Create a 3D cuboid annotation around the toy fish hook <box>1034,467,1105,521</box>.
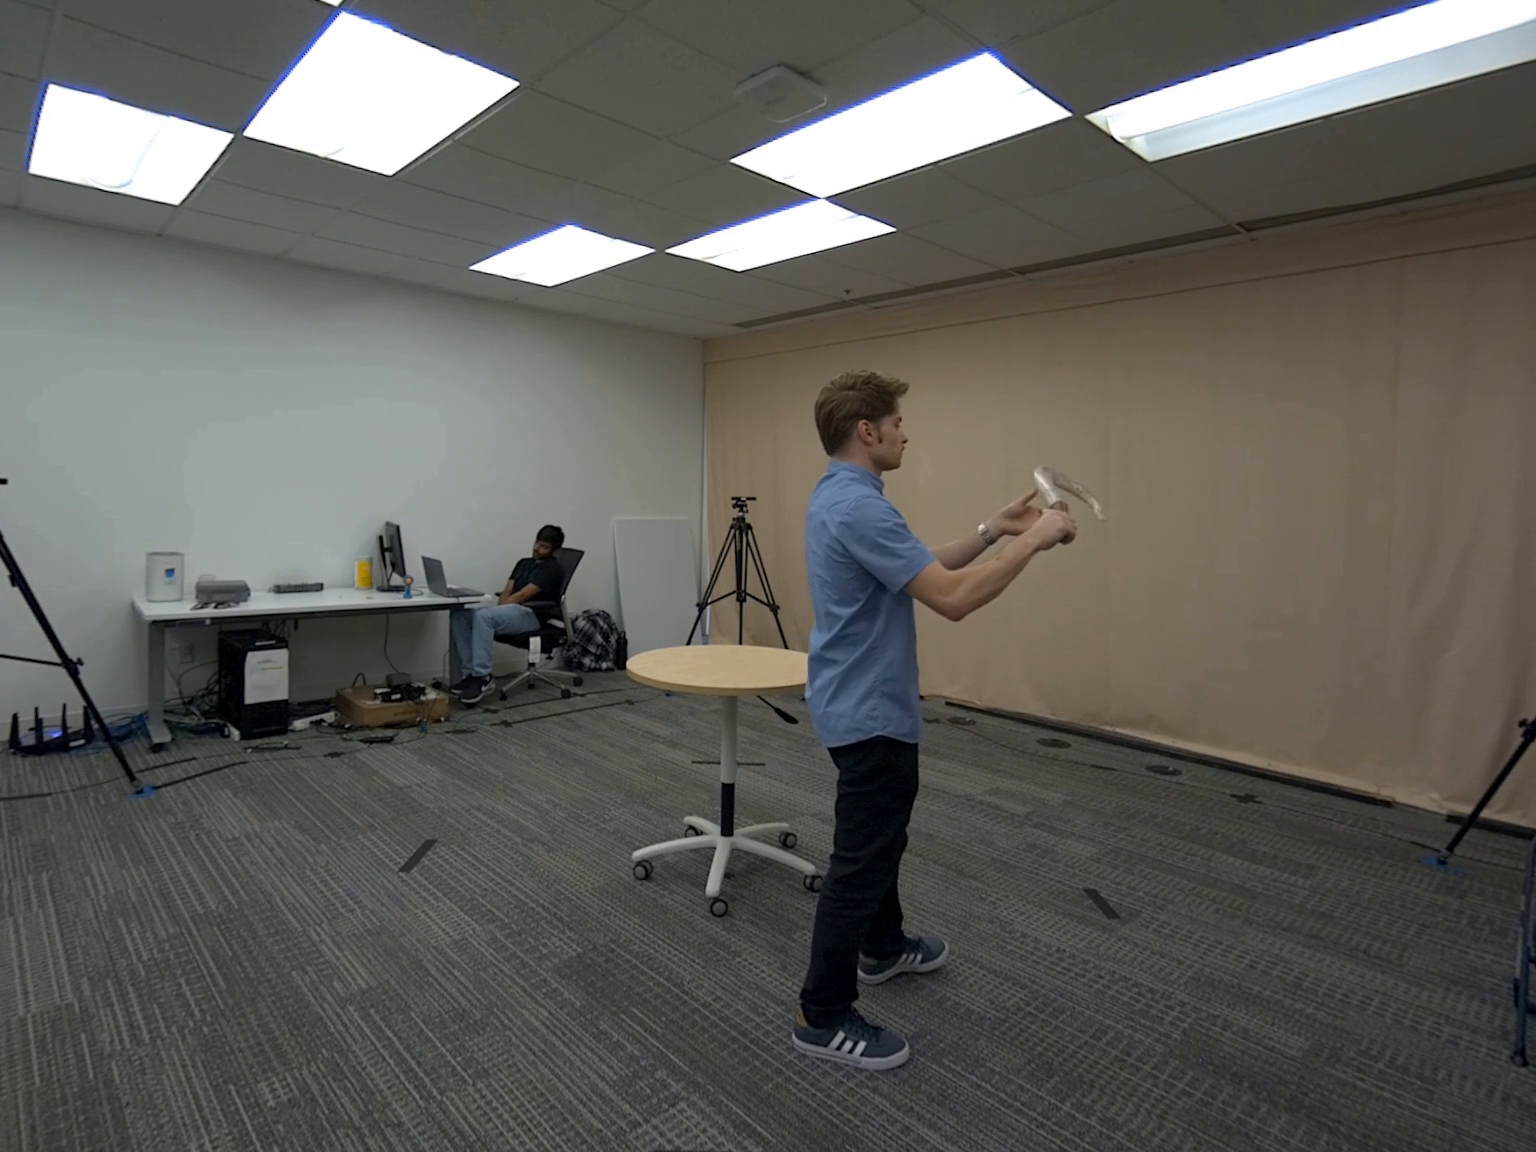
[{"bbox_3d":[0.784,-0.165,2.149,0.225,0.048,0.509,27,30,2],"label":"toy fish hook"}]
